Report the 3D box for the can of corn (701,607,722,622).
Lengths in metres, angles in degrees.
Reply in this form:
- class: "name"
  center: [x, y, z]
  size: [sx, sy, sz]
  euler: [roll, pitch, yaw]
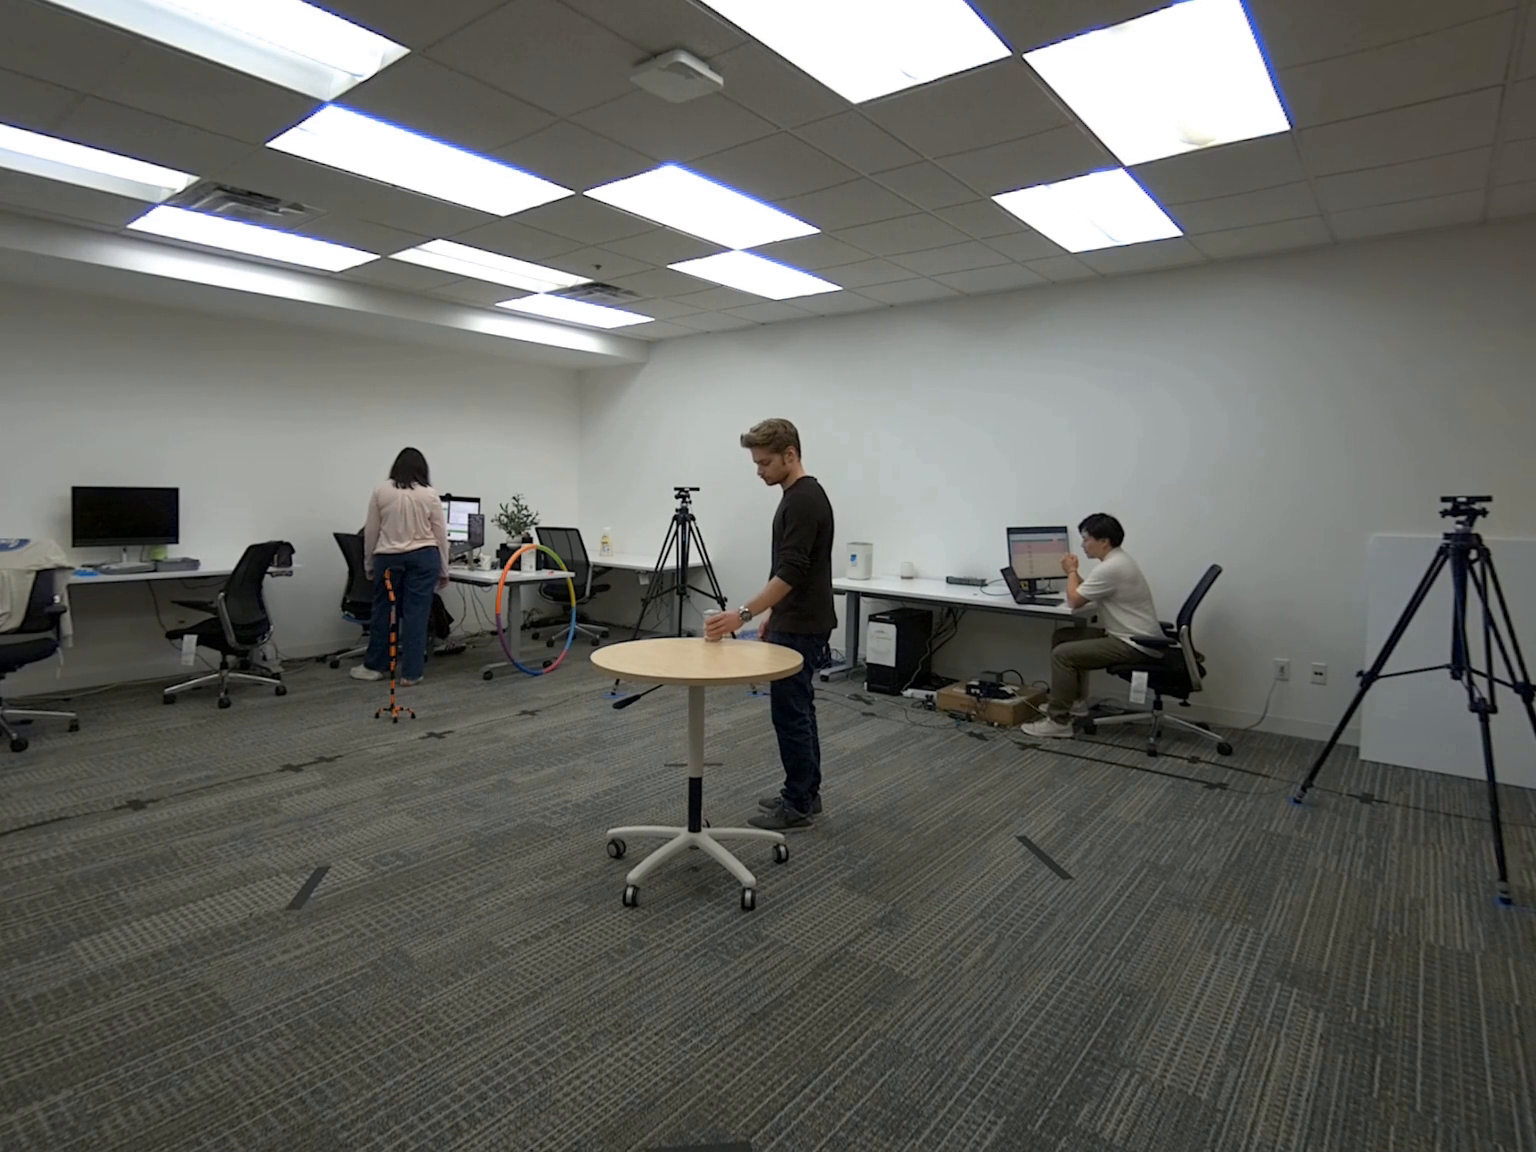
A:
- class: "can of corn"
  center: [-0.230, 0.184, 3.378]
  size: [0.074, 0.110, 0.075]
  euler: [0, 8, -2]
